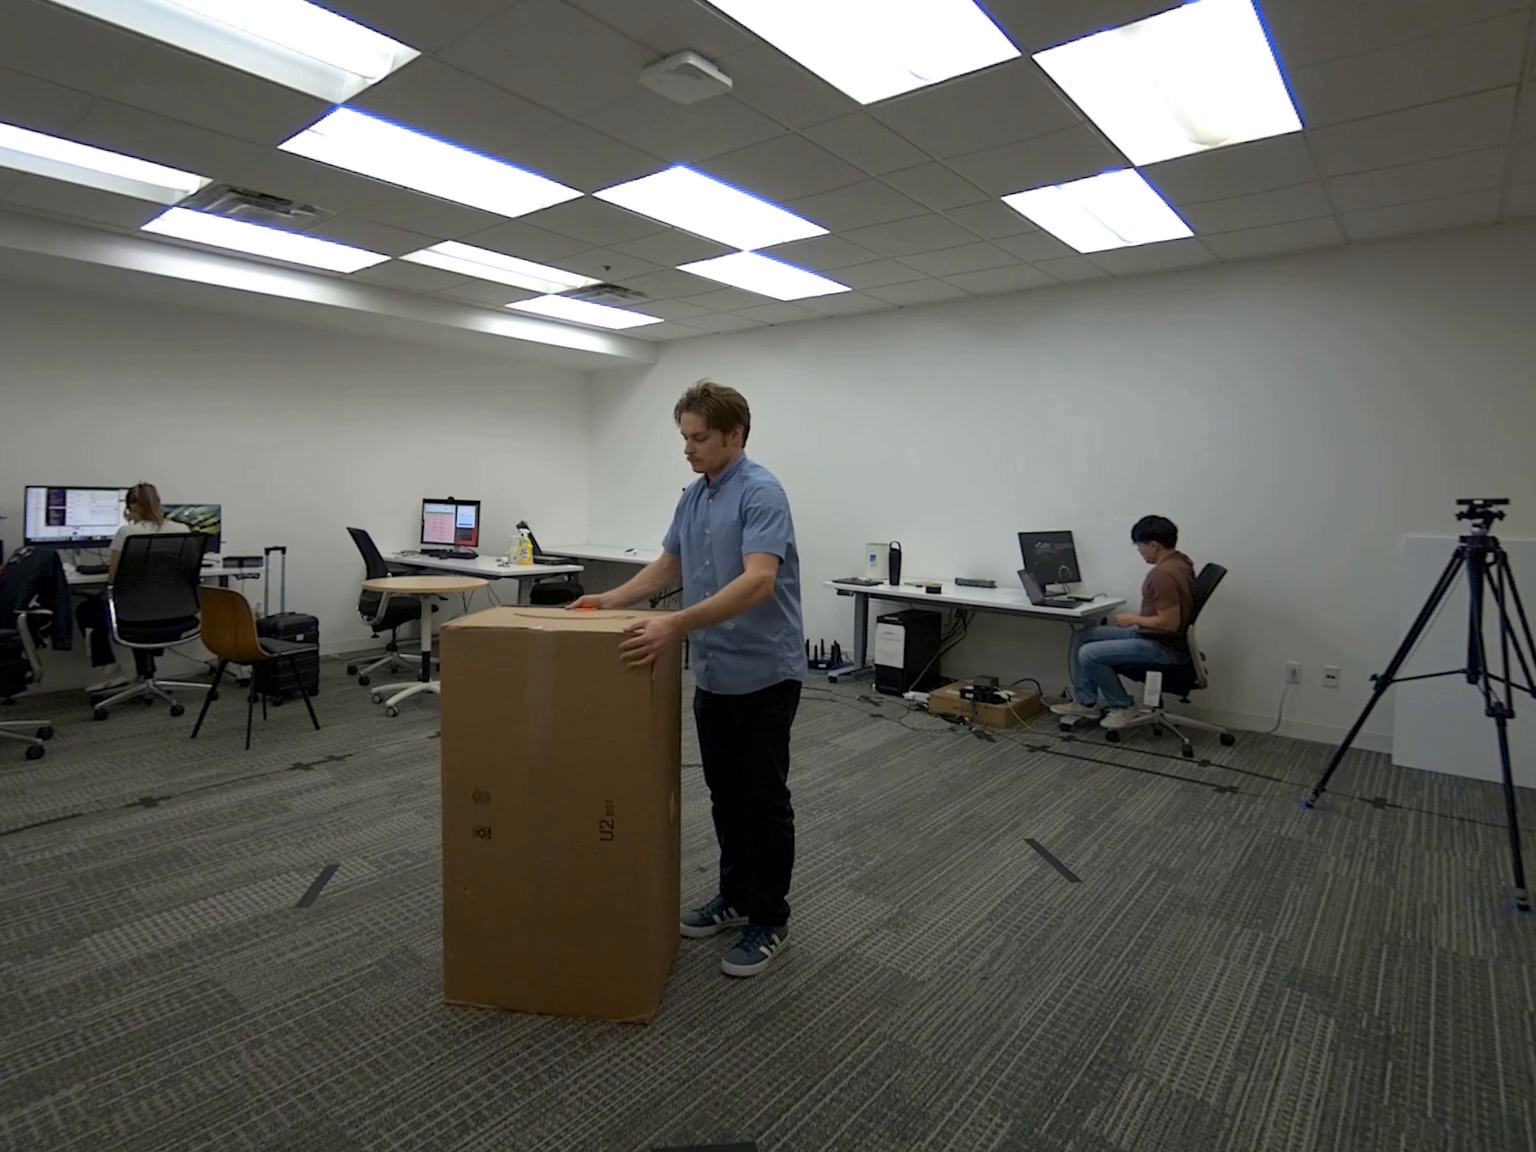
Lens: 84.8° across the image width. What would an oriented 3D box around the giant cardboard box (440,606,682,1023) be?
[{"bbox_3d":[-0.576,0.625,2.419,0.582,1.023,0.424,1,3,7],"label":"giant cardboard box"}]
